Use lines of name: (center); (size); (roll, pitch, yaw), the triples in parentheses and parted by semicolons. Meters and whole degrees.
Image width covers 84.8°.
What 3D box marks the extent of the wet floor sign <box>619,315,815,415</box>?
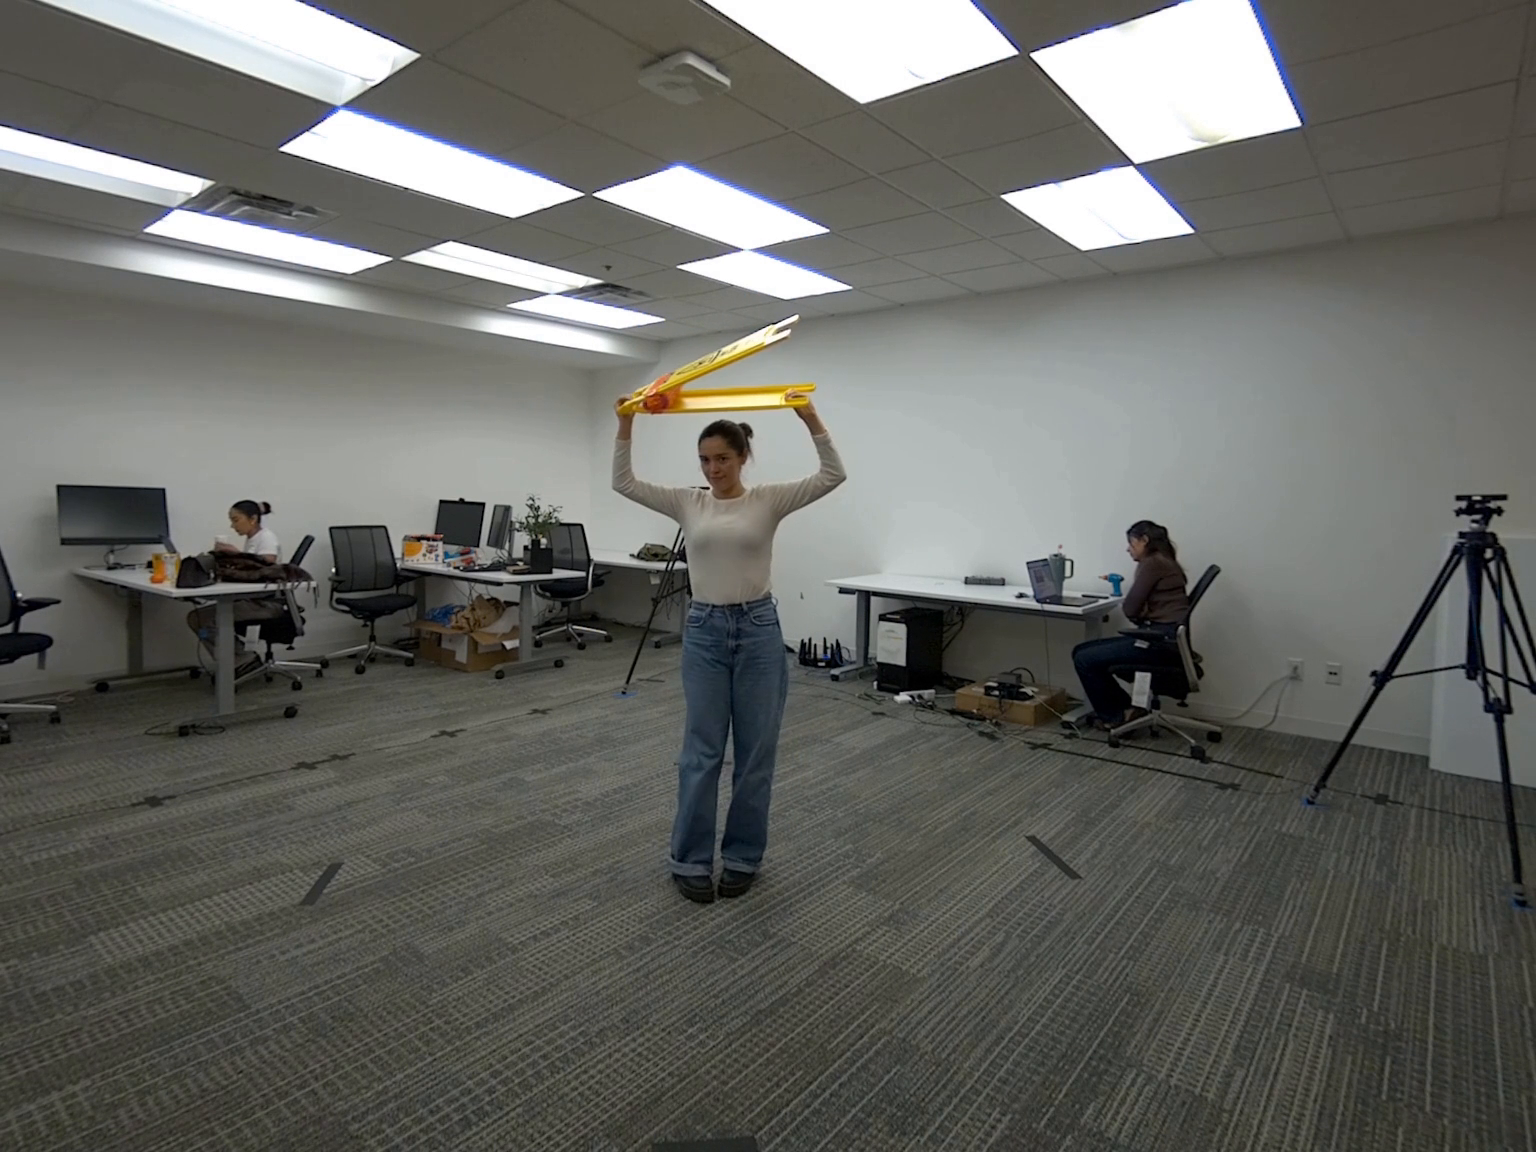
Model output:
wet floor sign: (-0.207, -0.662, 2.902); (0.656, 0.282, 0.285); (-8, 25, 17)
